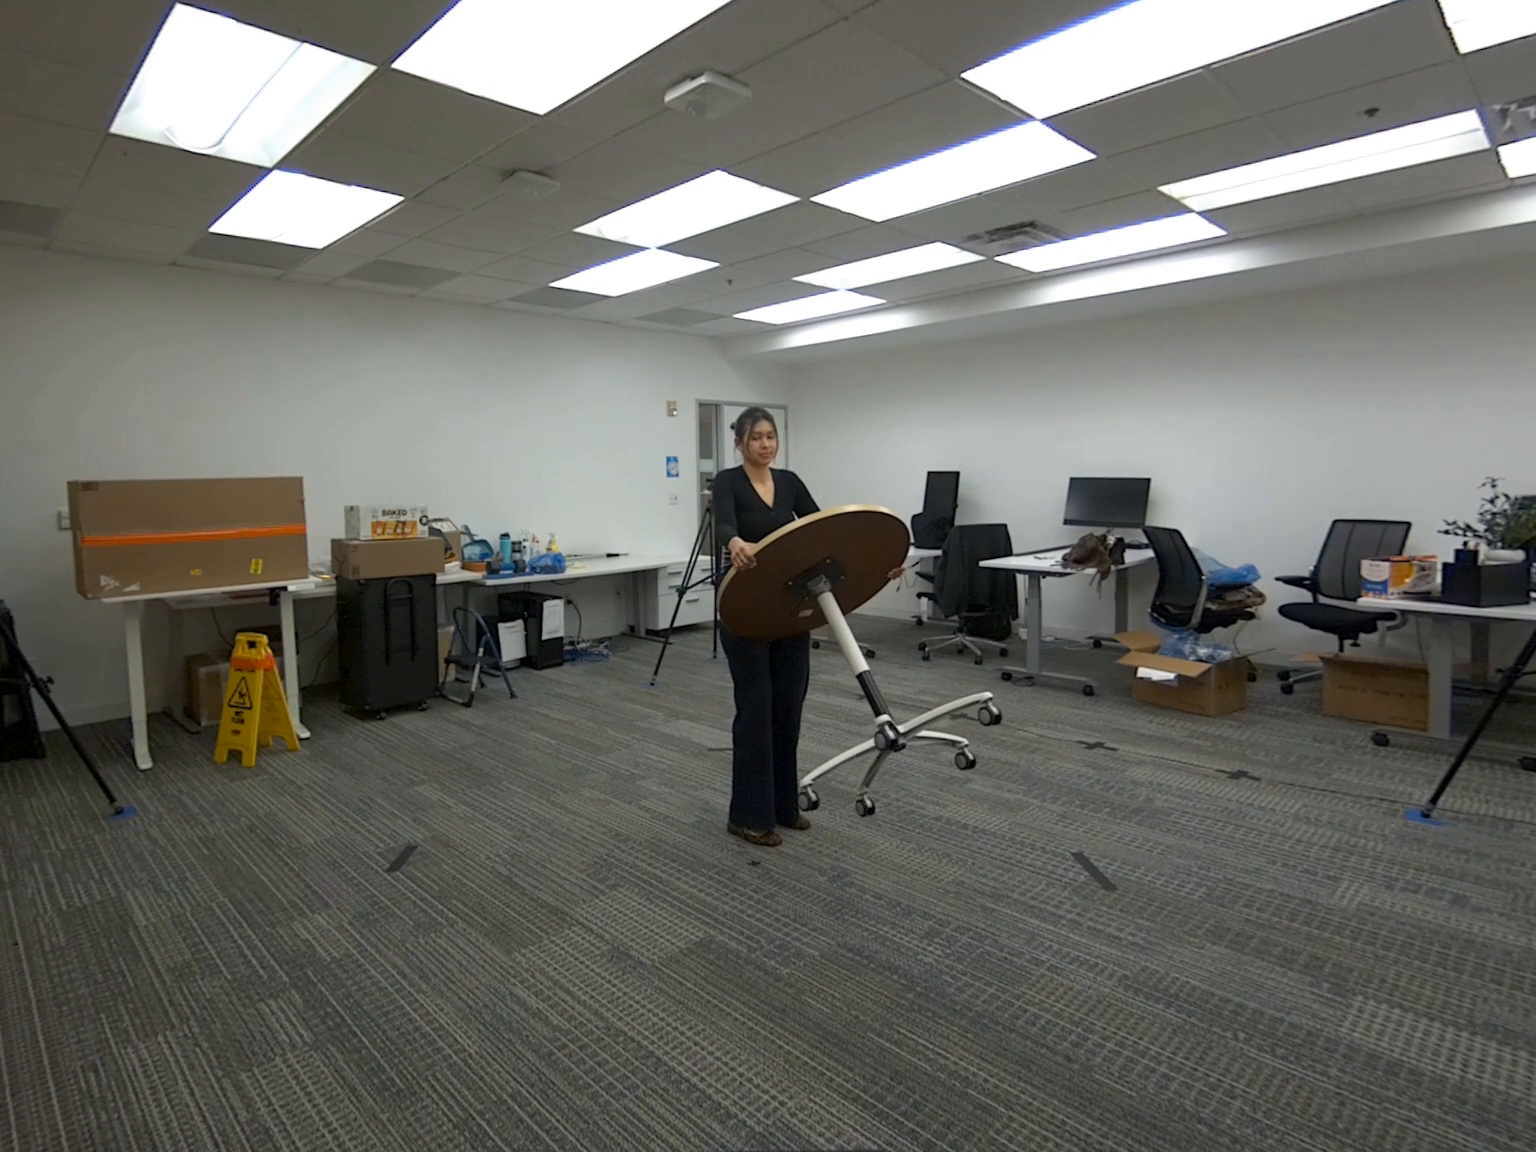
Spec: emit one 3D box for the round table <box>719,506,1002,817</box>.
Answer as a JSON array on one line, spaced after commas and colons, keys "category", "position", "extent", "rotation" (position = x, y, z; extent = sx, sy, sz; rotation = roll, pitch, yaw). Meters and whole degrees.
[{"category": "round table", "position": [0.320, 0.312, 2.951], "extent": [0.758, 0.821, 0.745], "rotation": [-16, -32, -12]}]
